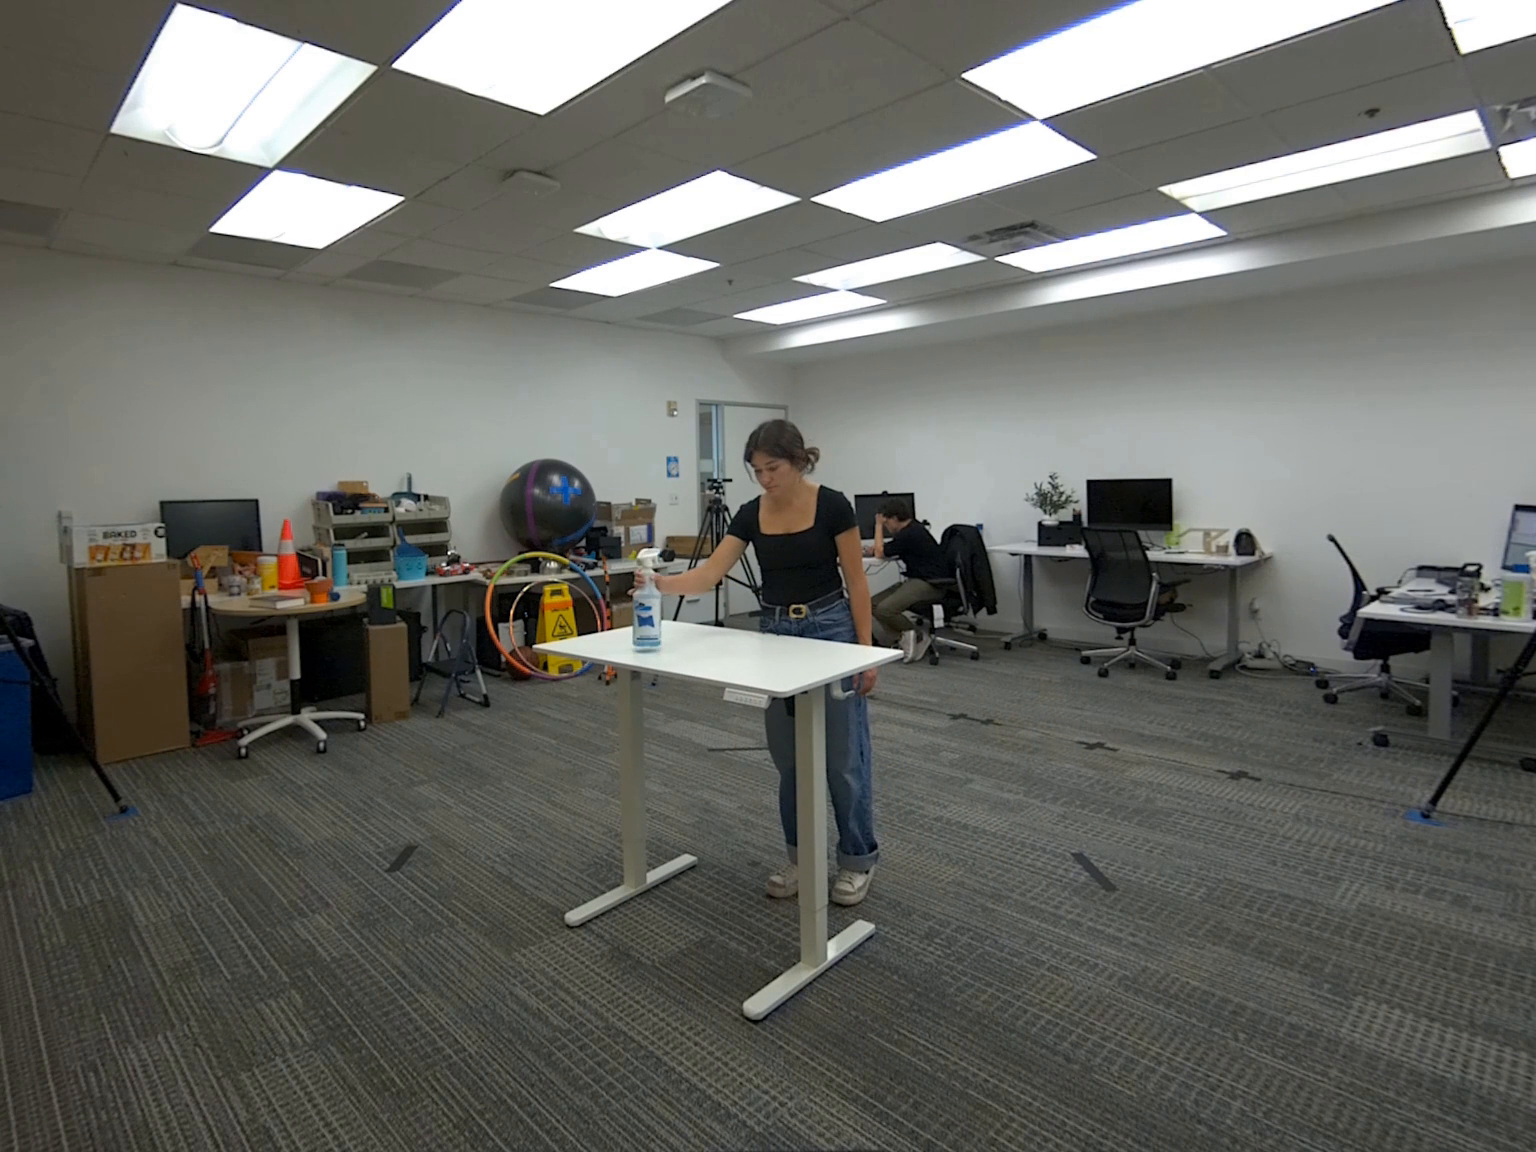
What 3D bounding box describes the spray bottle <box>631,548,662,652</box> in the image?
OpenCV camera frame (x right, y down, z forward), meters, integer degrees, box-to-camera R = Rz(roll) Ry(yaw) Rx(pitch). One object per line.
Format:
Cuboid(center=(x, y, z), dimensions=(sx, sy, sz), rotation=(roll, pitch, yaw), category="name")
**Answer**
Cuboid(center=(-0.365, 0.061, 2.600), dimensions=(0.088, 0.298, 0.089), rotation=(2, -2, -27), category="spray bottle")
